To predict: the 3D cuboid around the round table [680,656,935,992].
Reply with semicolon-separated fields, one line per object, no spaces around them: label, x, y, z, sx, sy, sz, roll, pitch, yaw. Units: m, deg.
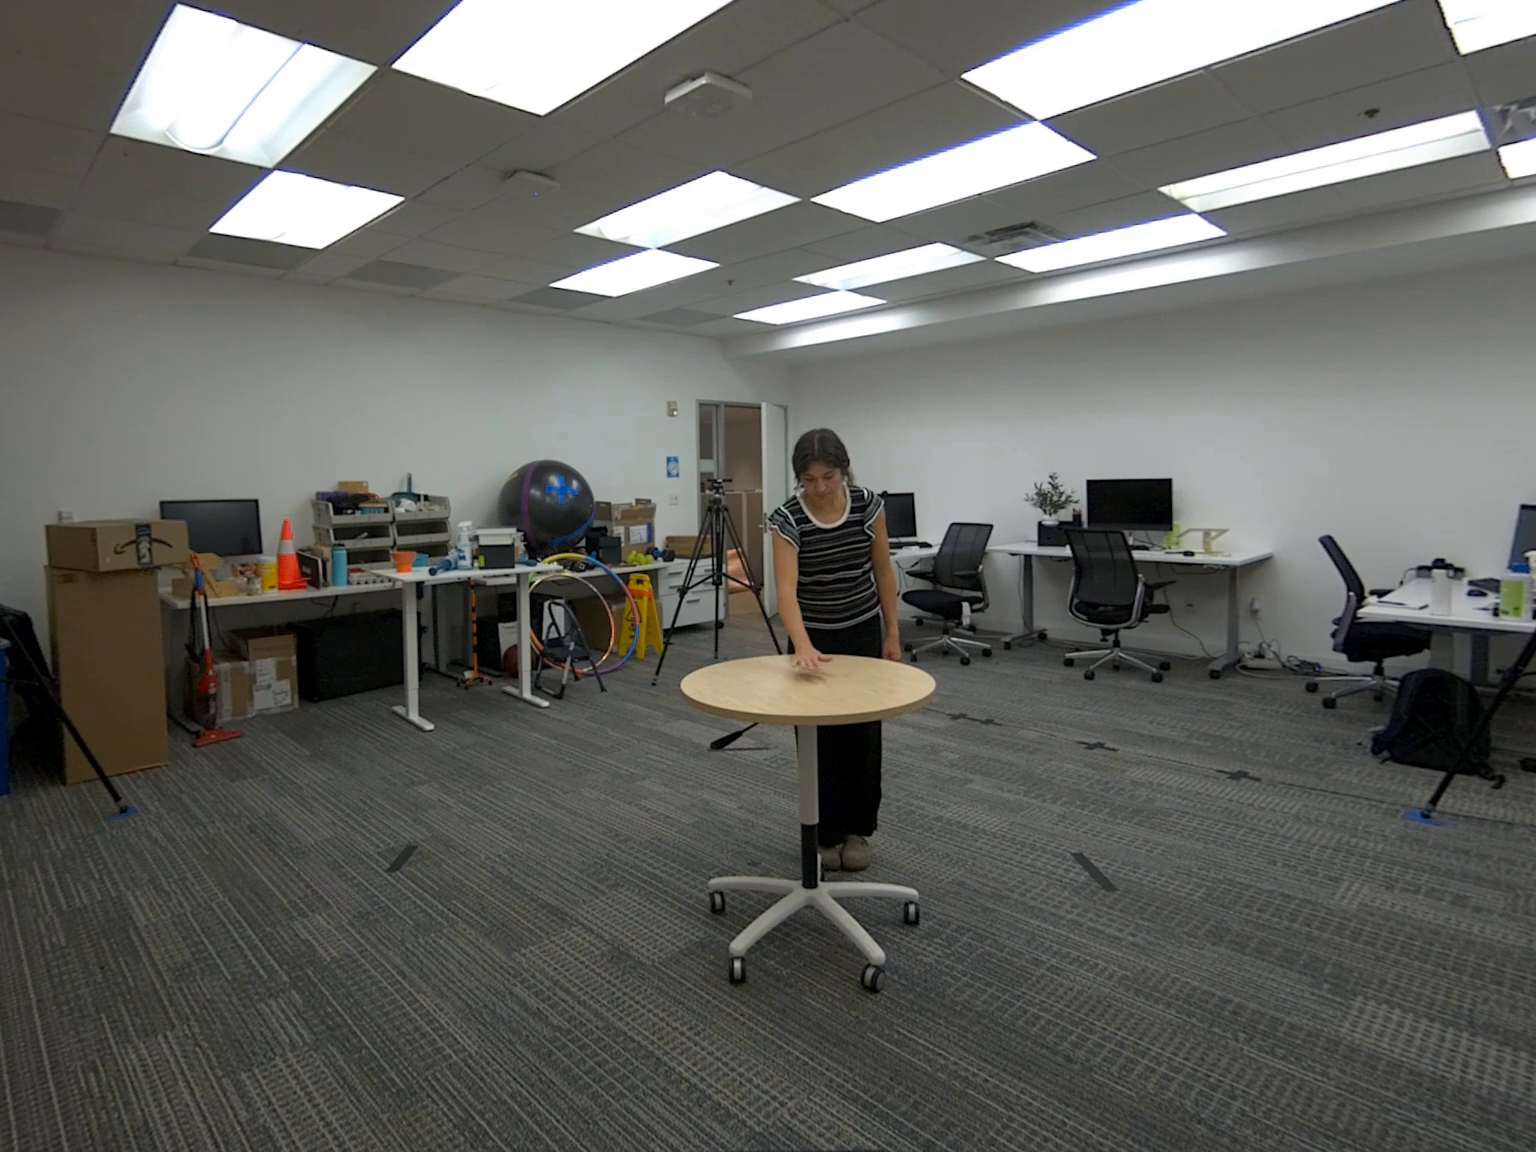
round table;0.127;0.713;2.613;0.763;0.791;0.768;-2;5;-2
